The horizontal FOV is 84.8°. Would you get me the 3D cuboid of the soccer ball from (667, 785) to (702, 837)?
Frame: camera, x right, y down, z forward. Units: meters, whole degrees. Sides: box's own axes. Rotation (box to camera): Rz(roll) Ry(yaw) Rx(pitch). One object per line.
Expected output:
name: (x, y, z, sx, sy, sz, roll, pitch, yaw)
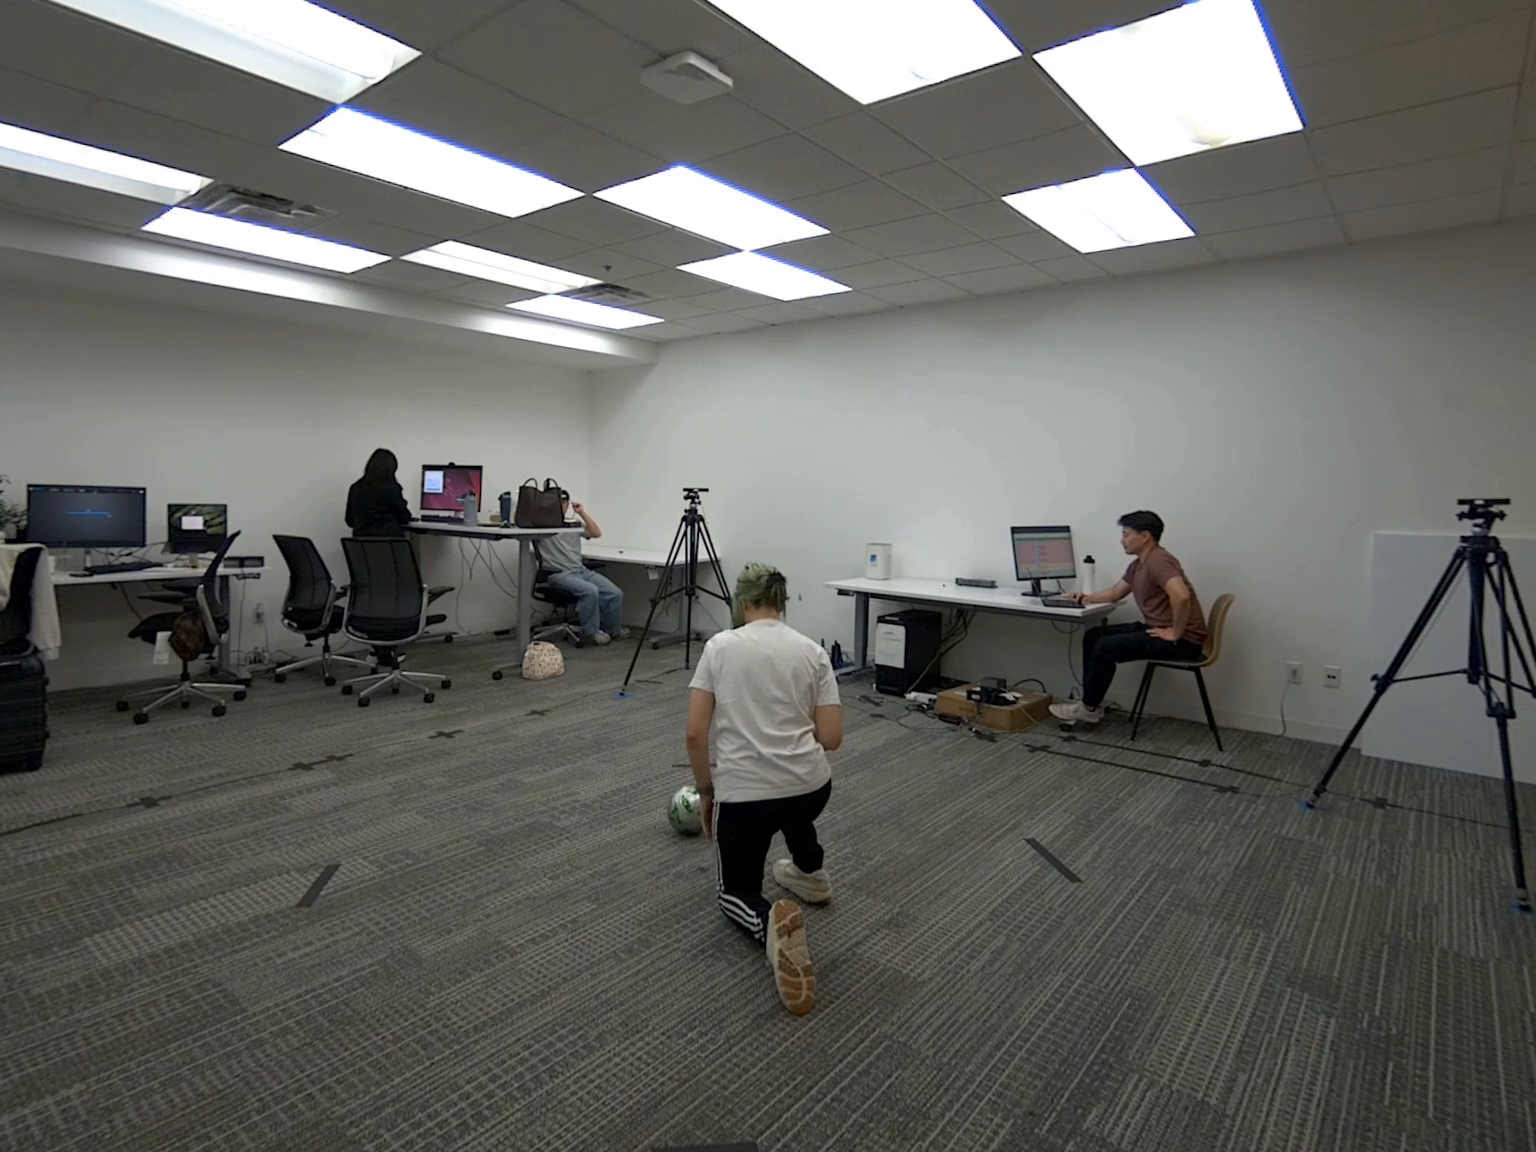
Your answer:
soccer ball: (-0.328, 0.941, 3.441, 0.187, 0.187, 0.188, 1, 4, -2)
